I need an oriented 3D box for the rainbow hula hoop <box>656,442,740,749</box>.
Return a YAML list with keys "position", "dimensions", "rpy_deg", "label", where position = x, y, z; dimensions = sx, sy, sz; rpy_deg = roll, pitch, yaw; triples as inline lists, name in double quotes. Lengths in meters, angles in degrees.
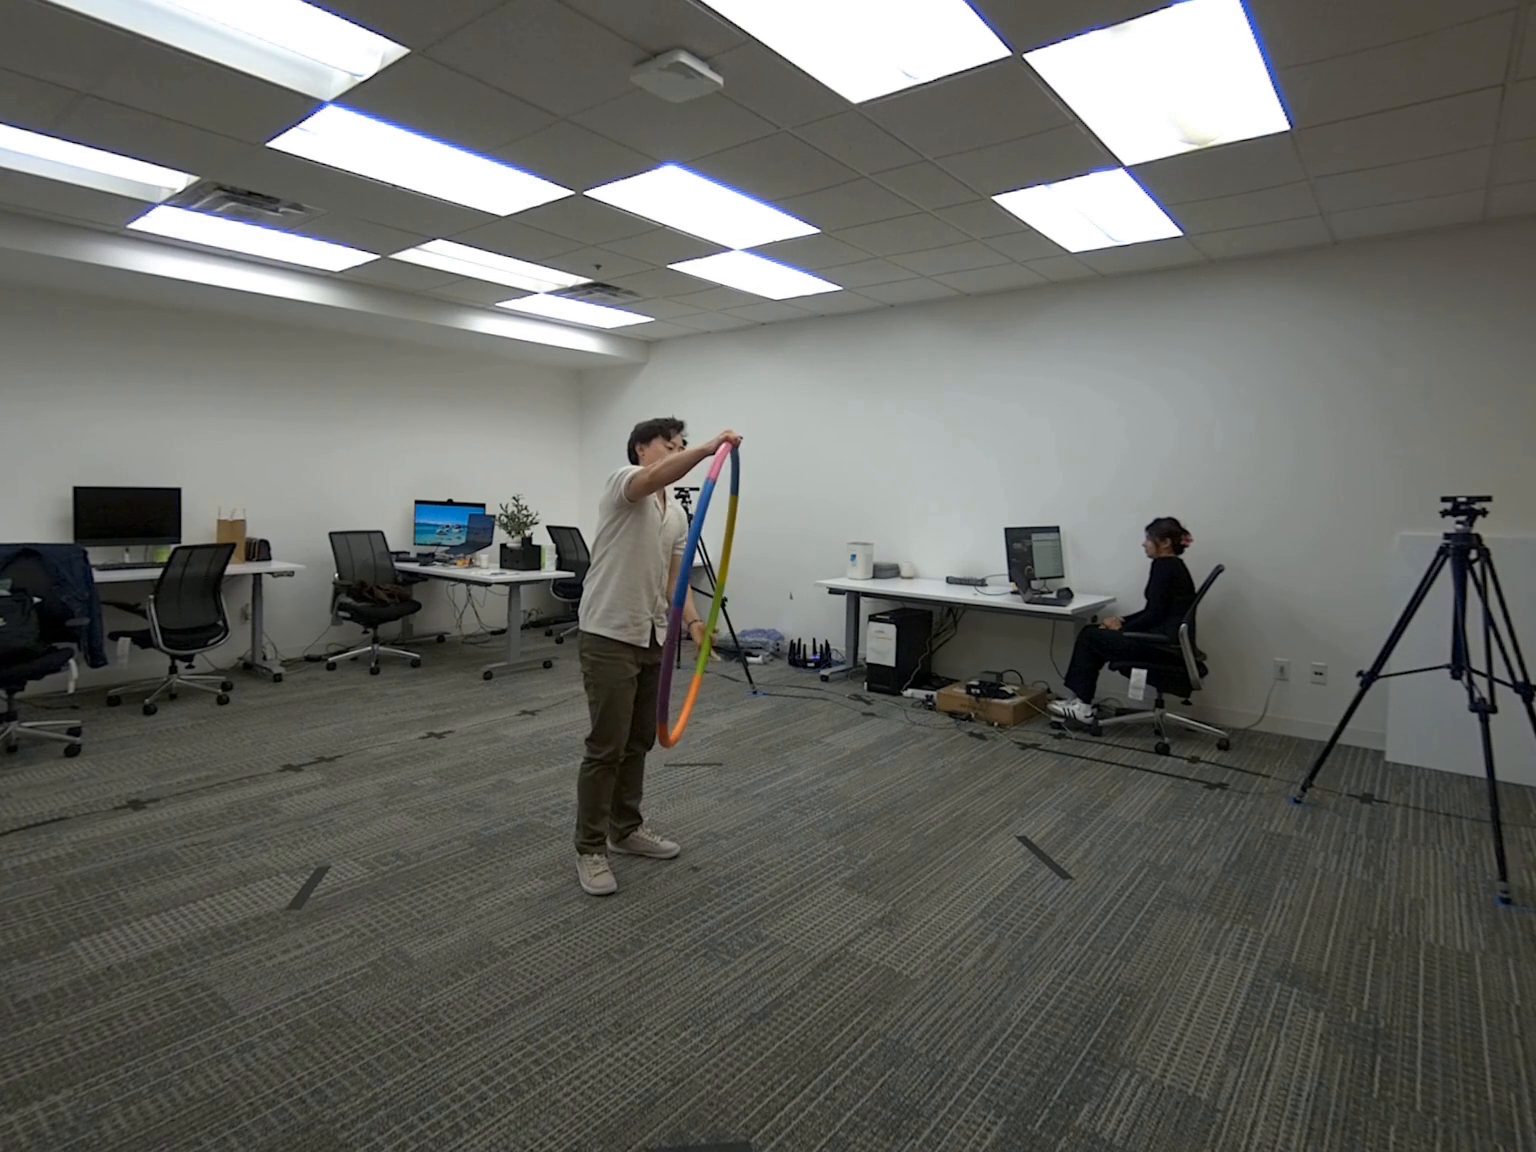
- position: [-0.216, 0.047, 2.728]
  dimensions: [0.036, 0.975, 0.974]
  rpy_deg: [12, 5, 5]
  label: "rainbow hula hoop"
